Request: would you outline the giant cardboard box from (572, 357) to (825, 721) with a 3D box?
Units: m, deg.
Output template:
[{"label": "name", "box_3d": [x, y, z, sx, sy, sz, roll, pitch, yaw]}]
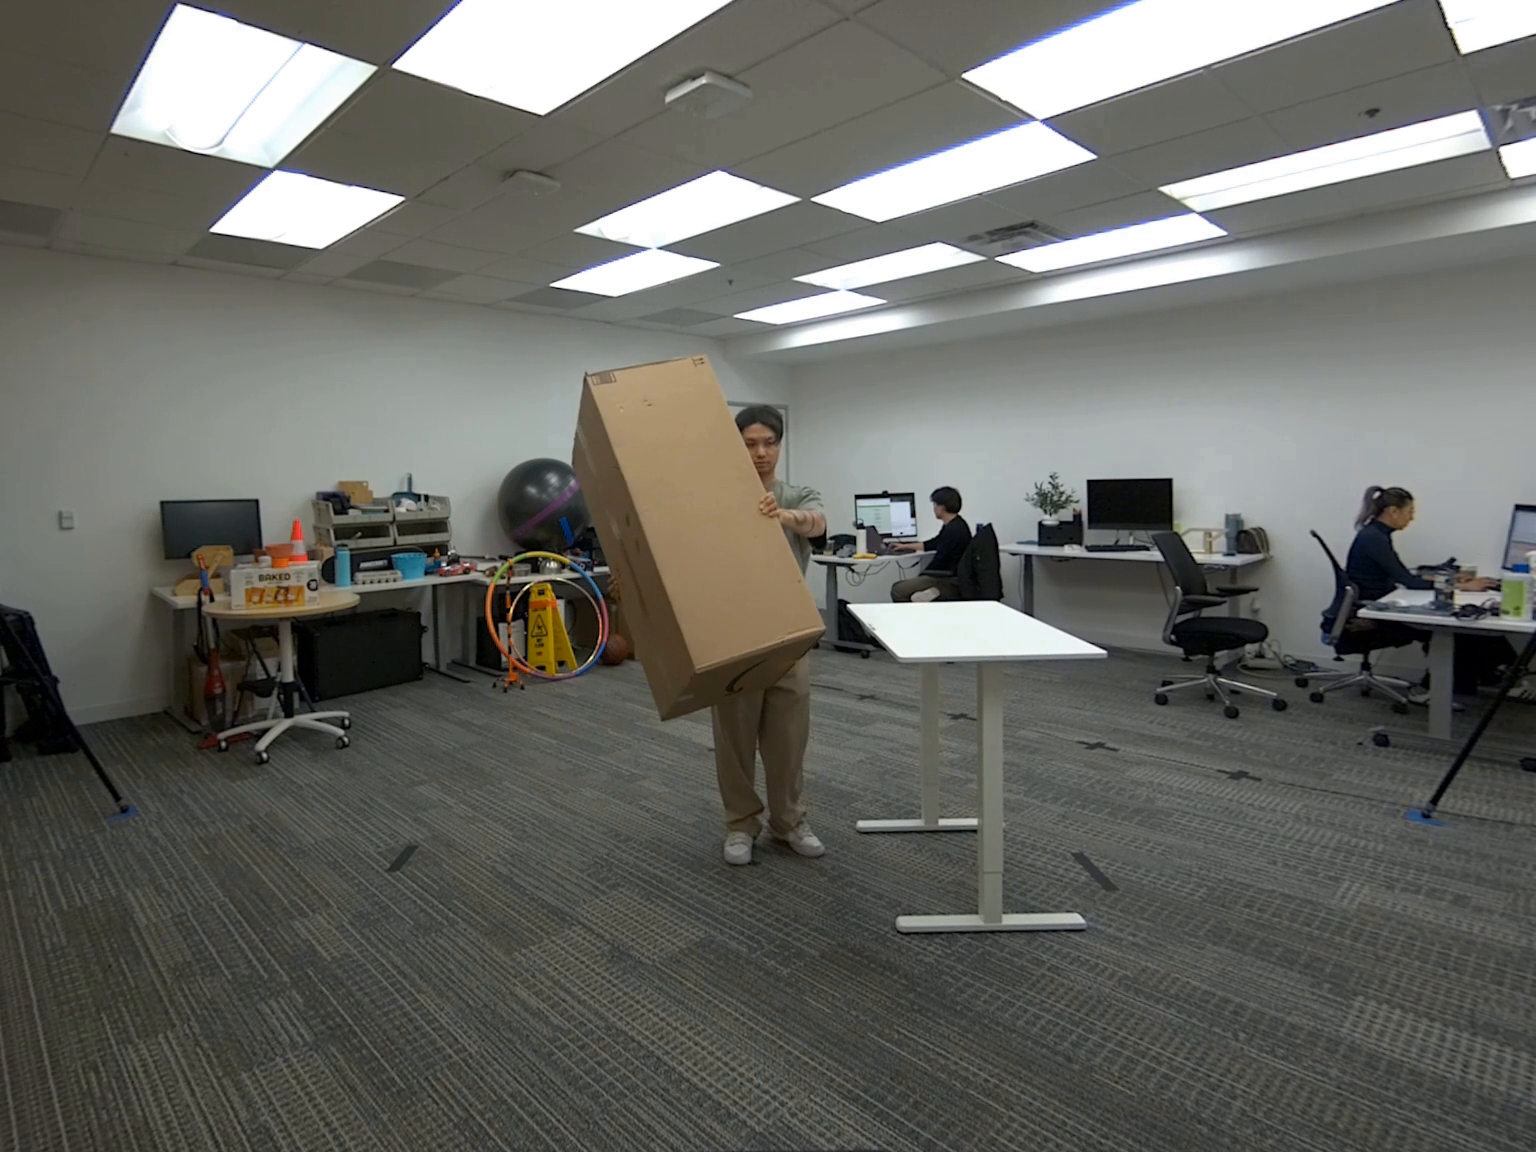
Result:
[{"label": "giant cardboard box", "box_3d": [-0.274, -0.139, 2.838, 0.420, 1.050, 0.573, -14, -21, -23]}]
